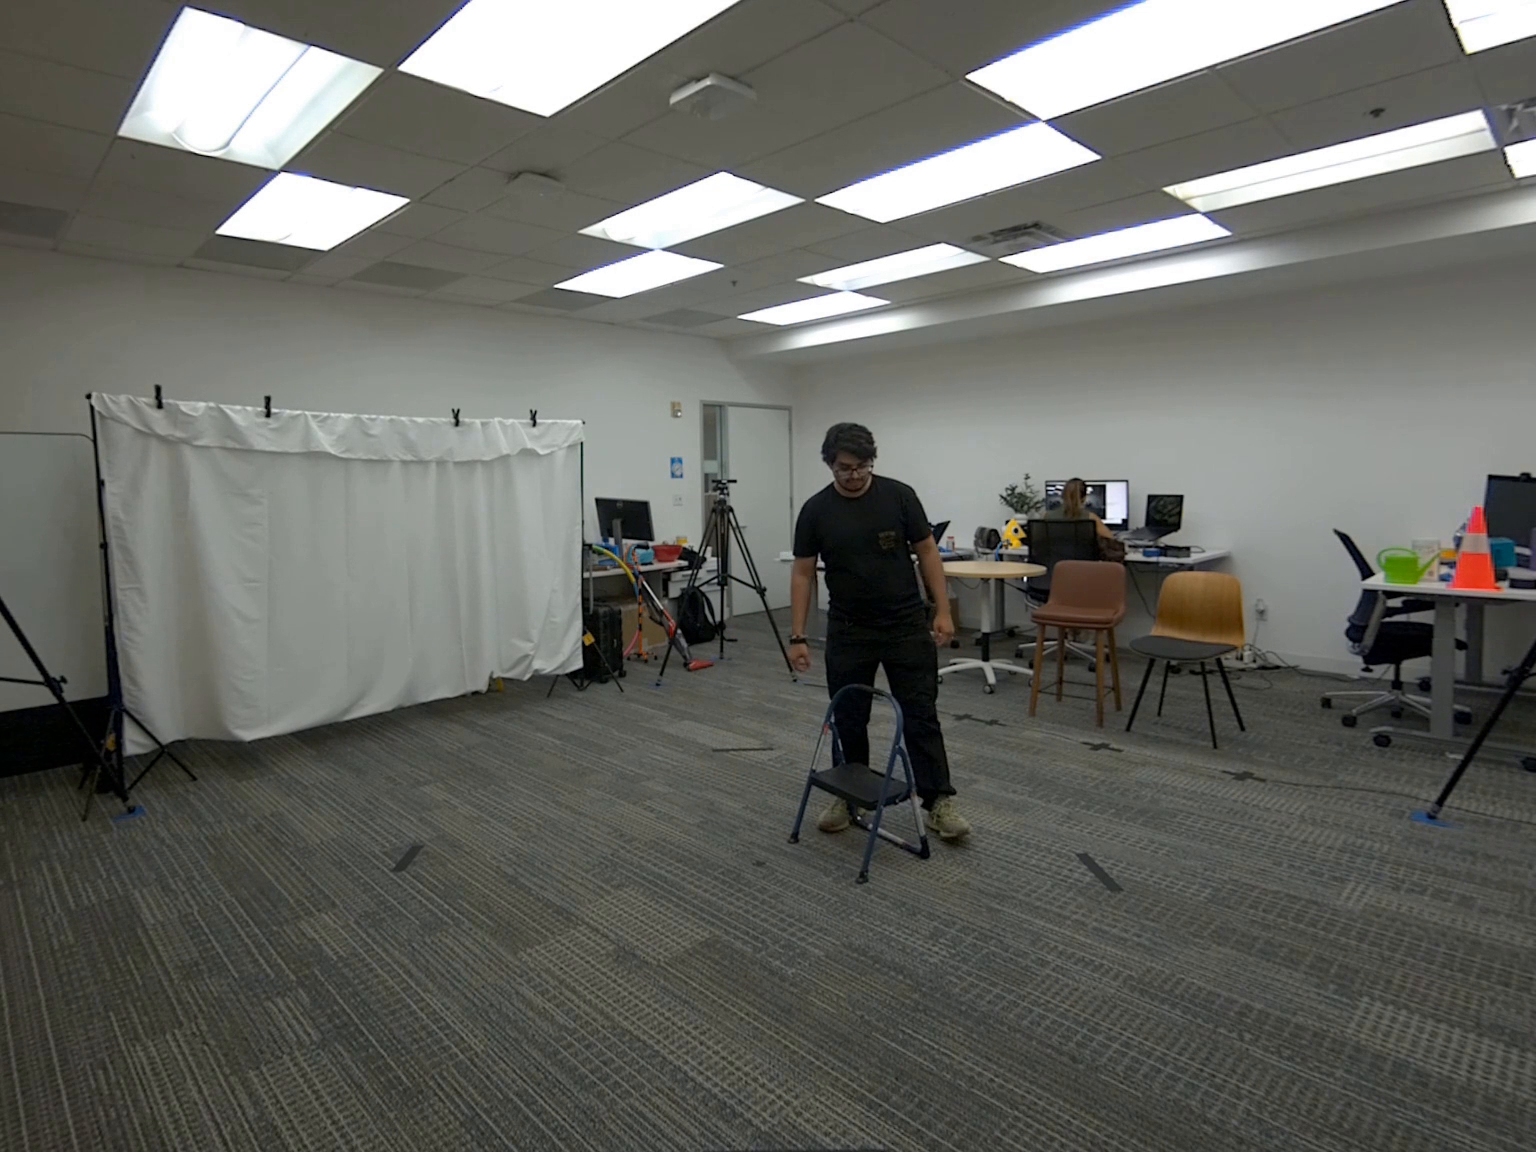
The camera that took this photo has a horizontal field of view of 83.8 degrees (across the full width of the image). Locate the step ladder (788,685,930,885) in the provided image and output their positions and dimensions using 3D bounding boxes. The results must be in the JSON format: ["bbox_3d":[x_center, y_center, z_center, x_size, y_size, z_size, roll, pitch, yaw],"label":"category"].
[{"bbox_3d":[0.335,0.729,3.190,0.340,0.604,0.443,-3,4,-34],"label":"step ladder"}]
